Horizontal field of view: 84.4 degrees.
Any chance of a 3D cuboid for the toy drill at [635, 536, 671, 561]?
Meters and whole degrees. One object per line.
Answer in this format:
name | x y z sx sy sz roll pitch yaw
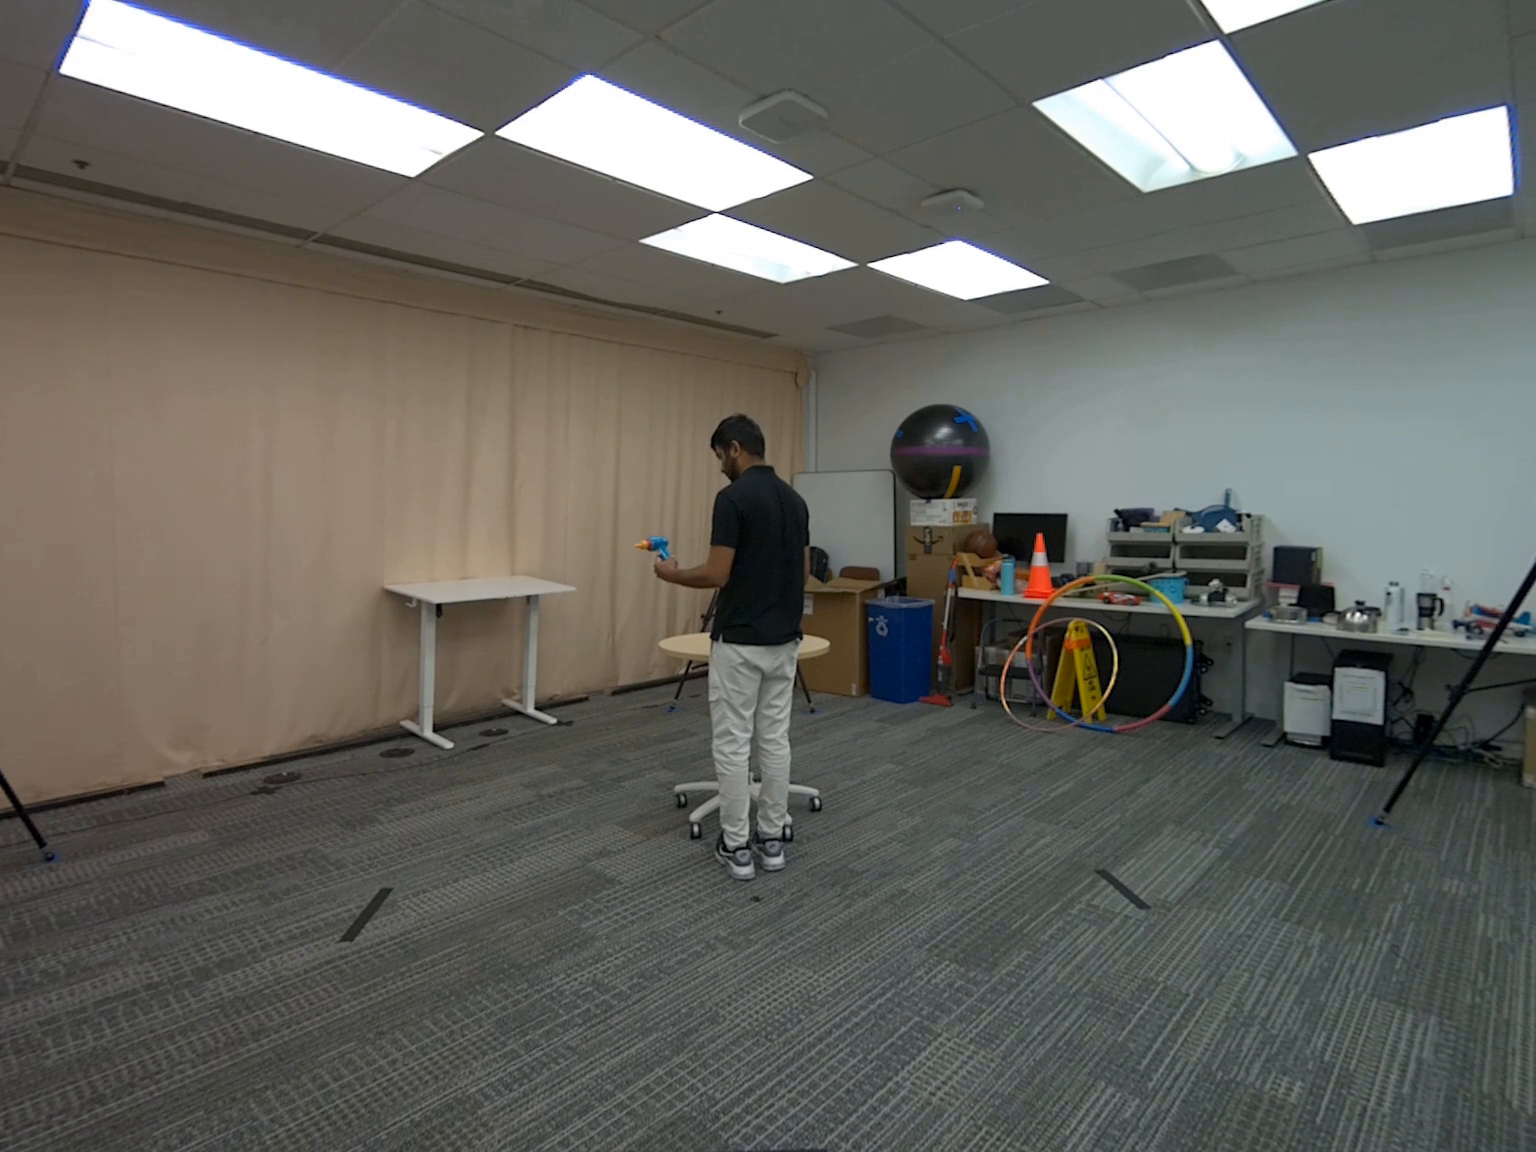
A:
toy drill | -0.433 -0.092 3.357 0.165 0.148 0.062 -12 -23 -41
